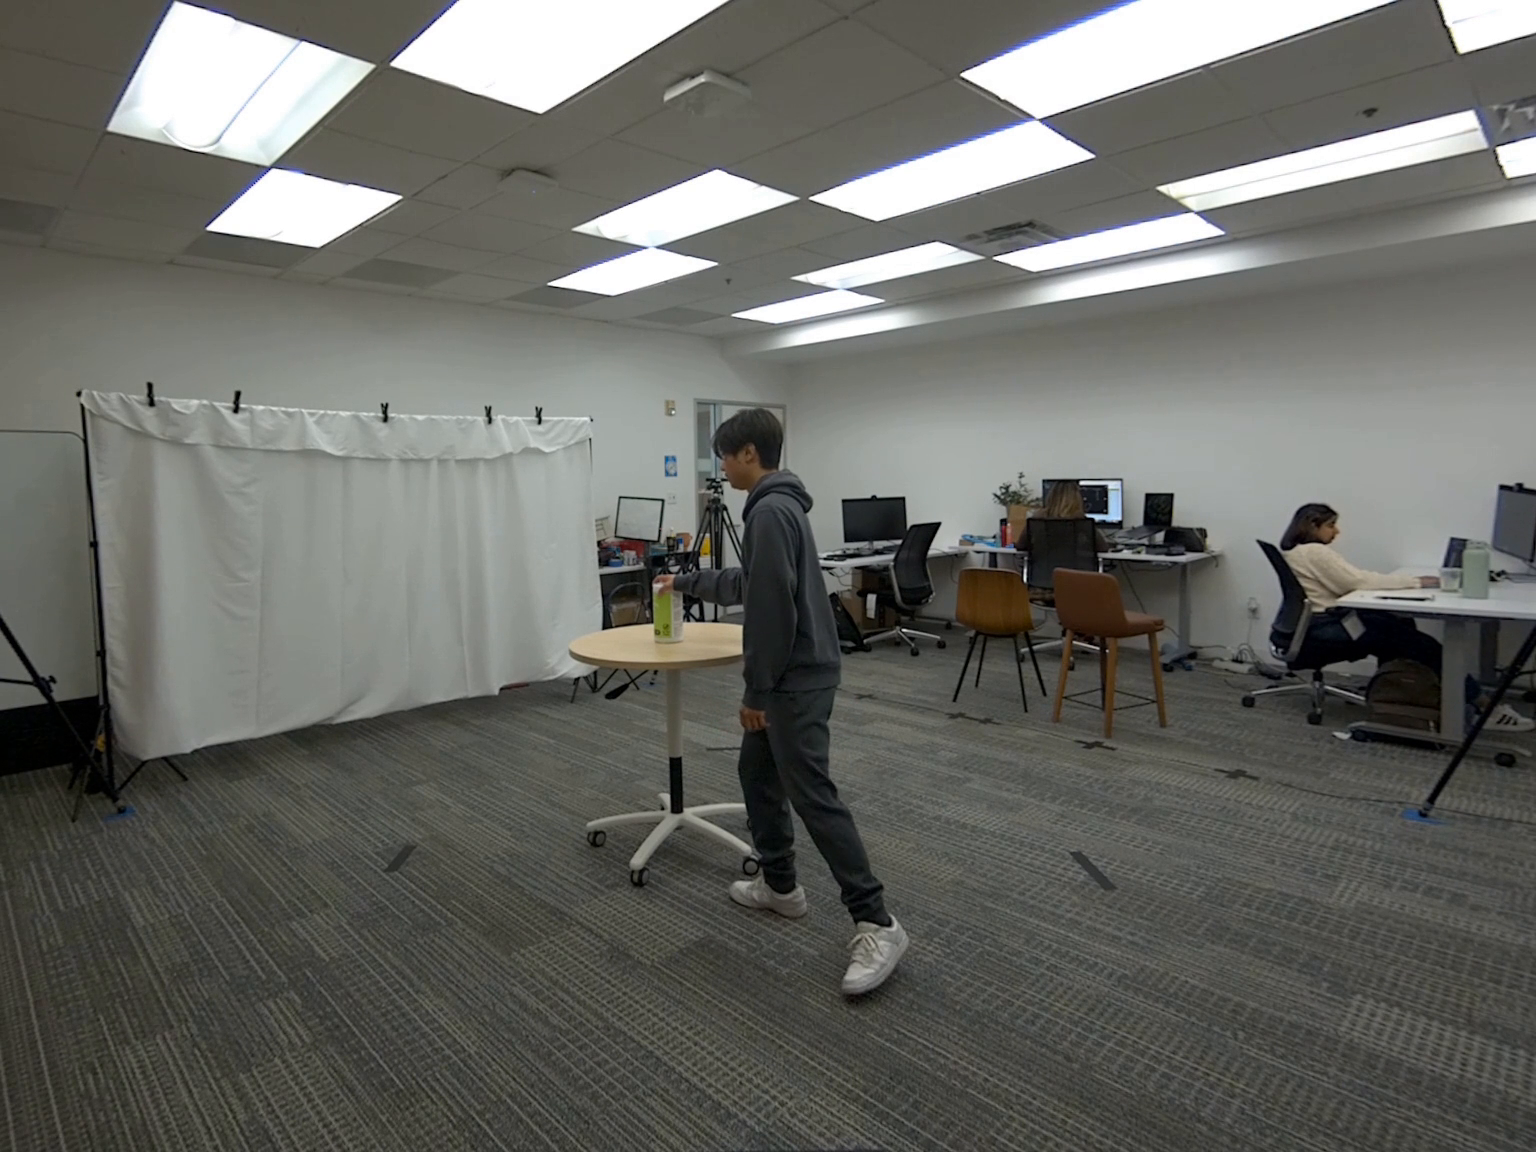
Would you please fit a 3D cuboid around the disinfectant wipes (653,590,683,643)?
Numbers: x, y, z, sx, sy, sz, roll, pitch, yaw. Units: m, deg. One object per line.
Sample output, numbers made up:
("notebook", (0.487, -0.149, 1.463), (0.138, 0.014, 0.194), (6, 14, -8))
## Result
("disinfectant wipes", (-0.368, 0.136, 3.180), (0.118, 0.217, 0.118), (0, 3, -2))
